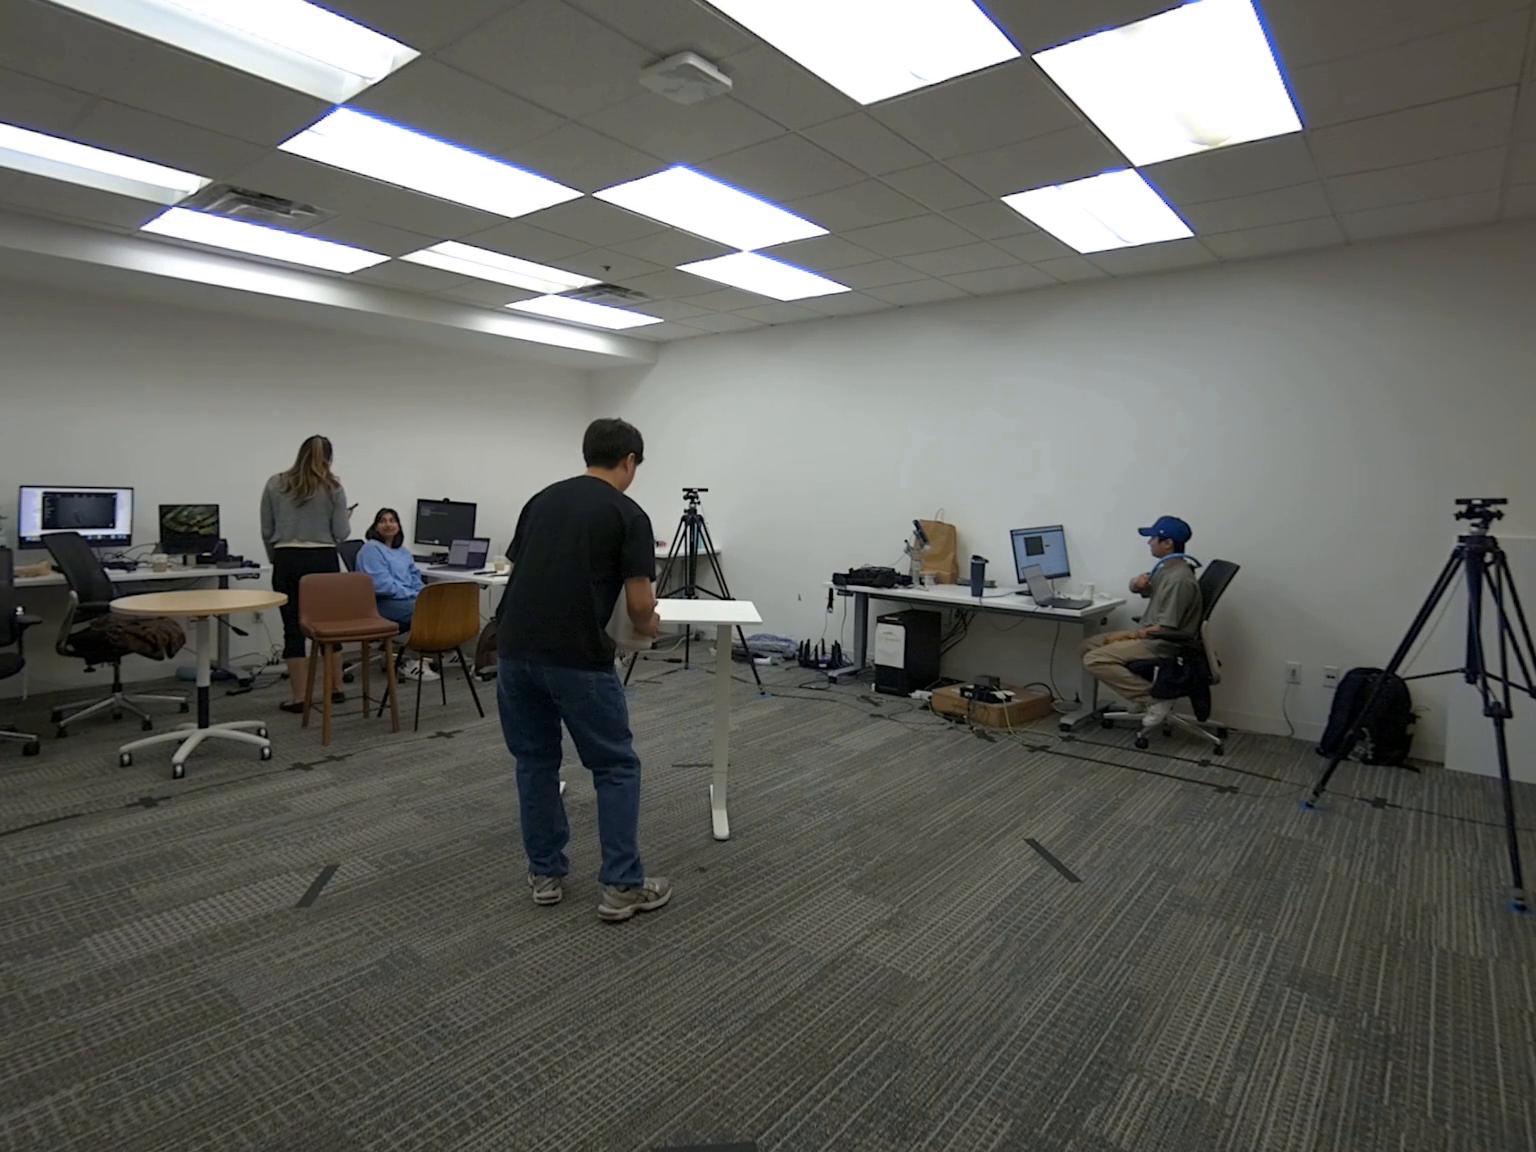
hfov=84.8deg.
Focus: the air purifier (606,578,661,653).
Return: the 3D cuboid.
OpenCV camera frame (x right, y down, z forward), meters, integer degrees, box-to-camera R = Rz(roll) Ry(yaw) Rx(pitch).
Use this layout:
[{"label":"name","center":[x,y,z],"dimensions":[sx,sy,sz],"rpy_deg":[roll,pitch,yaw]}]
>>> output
[{"label":"air purifier","center":[-0.524,0.139,3.121],"dimensions":[0.167,0.268,0.174],"rpy_deg":[9,-11,-28]}]
